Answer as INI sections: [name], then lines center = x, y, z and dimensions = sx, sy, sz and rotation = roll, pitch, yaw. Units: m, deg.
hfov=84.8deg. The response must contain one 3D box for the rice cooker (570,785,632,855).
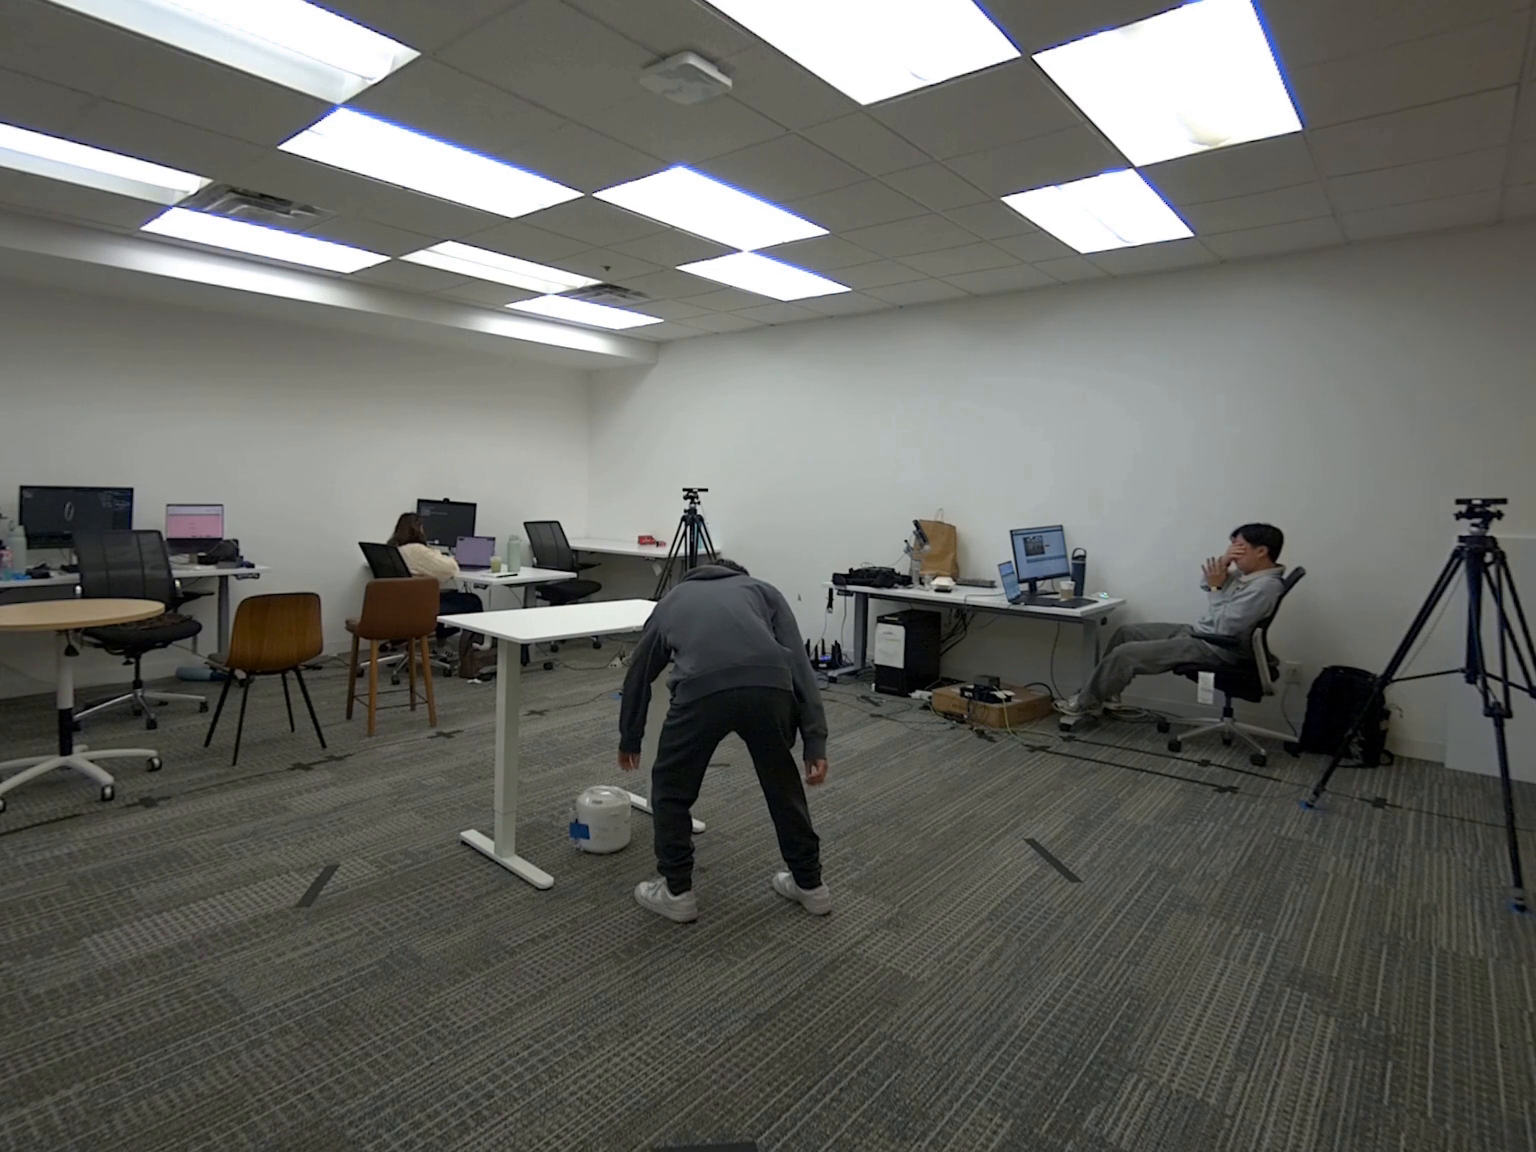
[rice cooker]
center = -0.647, 0.926, 3.300
dimensions = 0.226, 0.232, 0.213
rotation = 2, 5, 21
